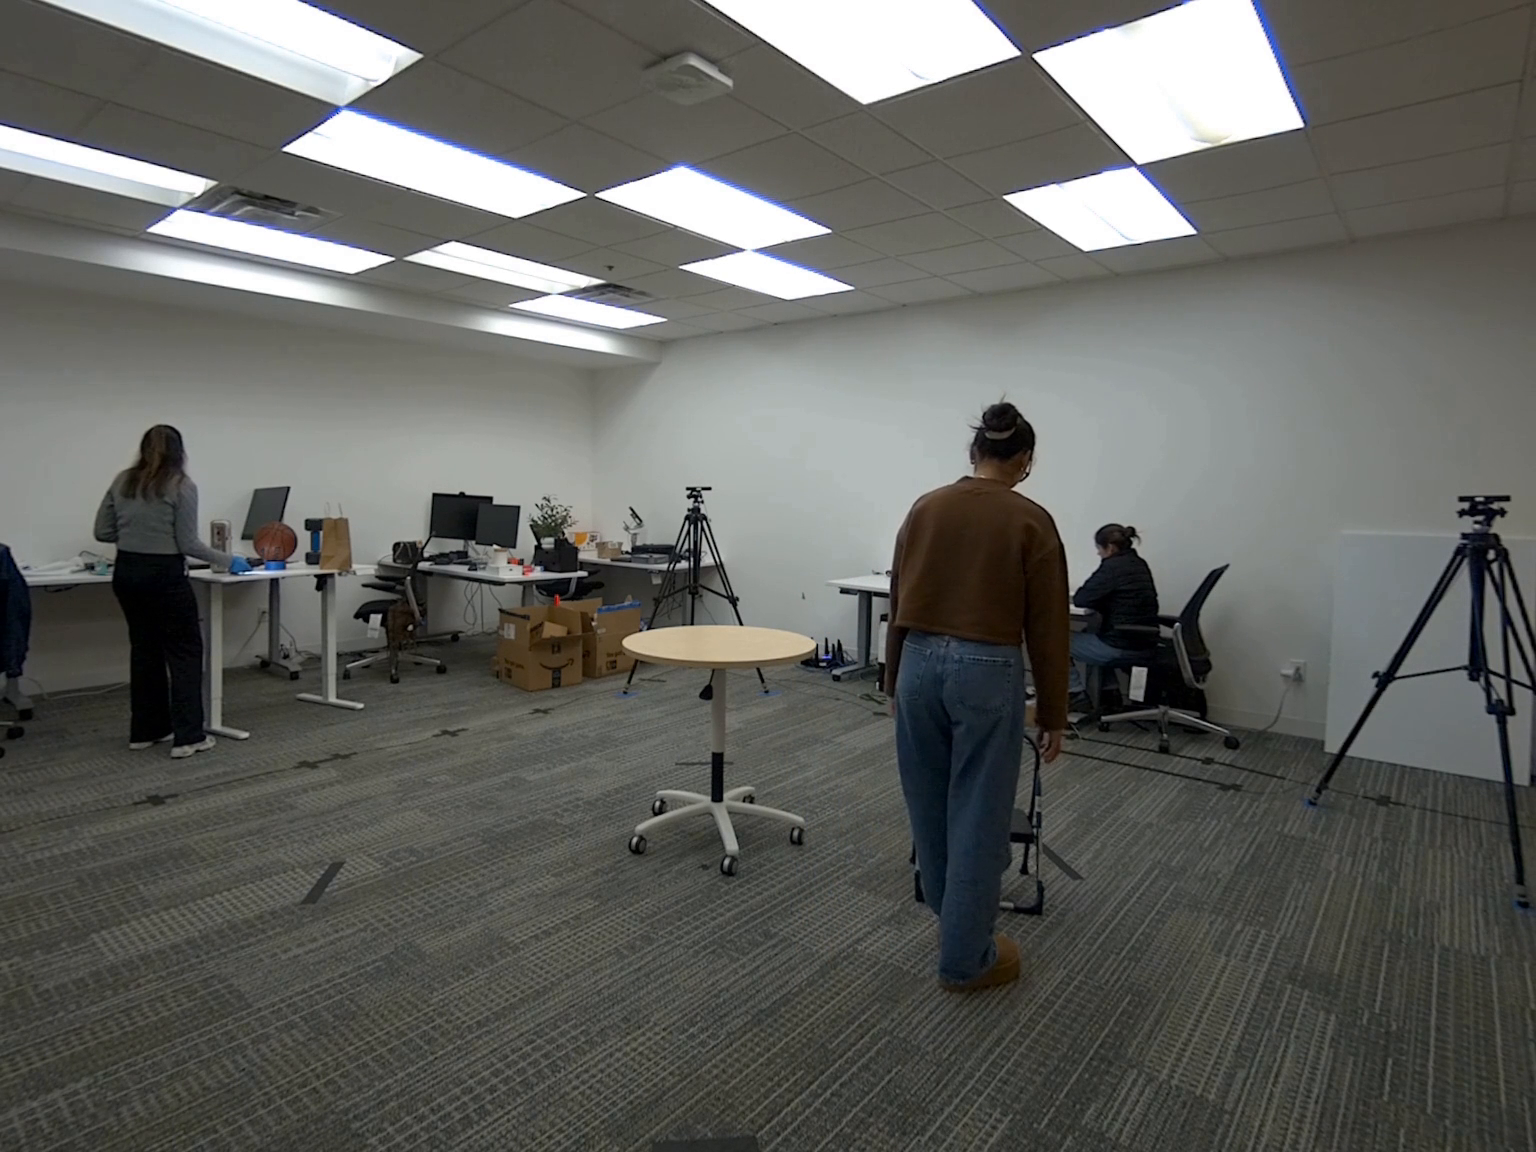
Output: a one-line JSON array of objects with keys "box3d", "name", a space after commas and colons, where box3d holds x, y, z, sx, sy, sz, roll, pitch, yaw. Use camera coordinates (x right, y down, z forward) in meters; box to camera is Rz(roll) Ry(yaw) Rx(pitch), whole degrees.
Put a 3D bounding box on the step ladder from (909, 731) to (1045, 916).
[{"box3d": [0.726, 0.792, 3.002, 0.435, 0.604, 0.346, 2, 3, 9], "name": "step ladder"}]
